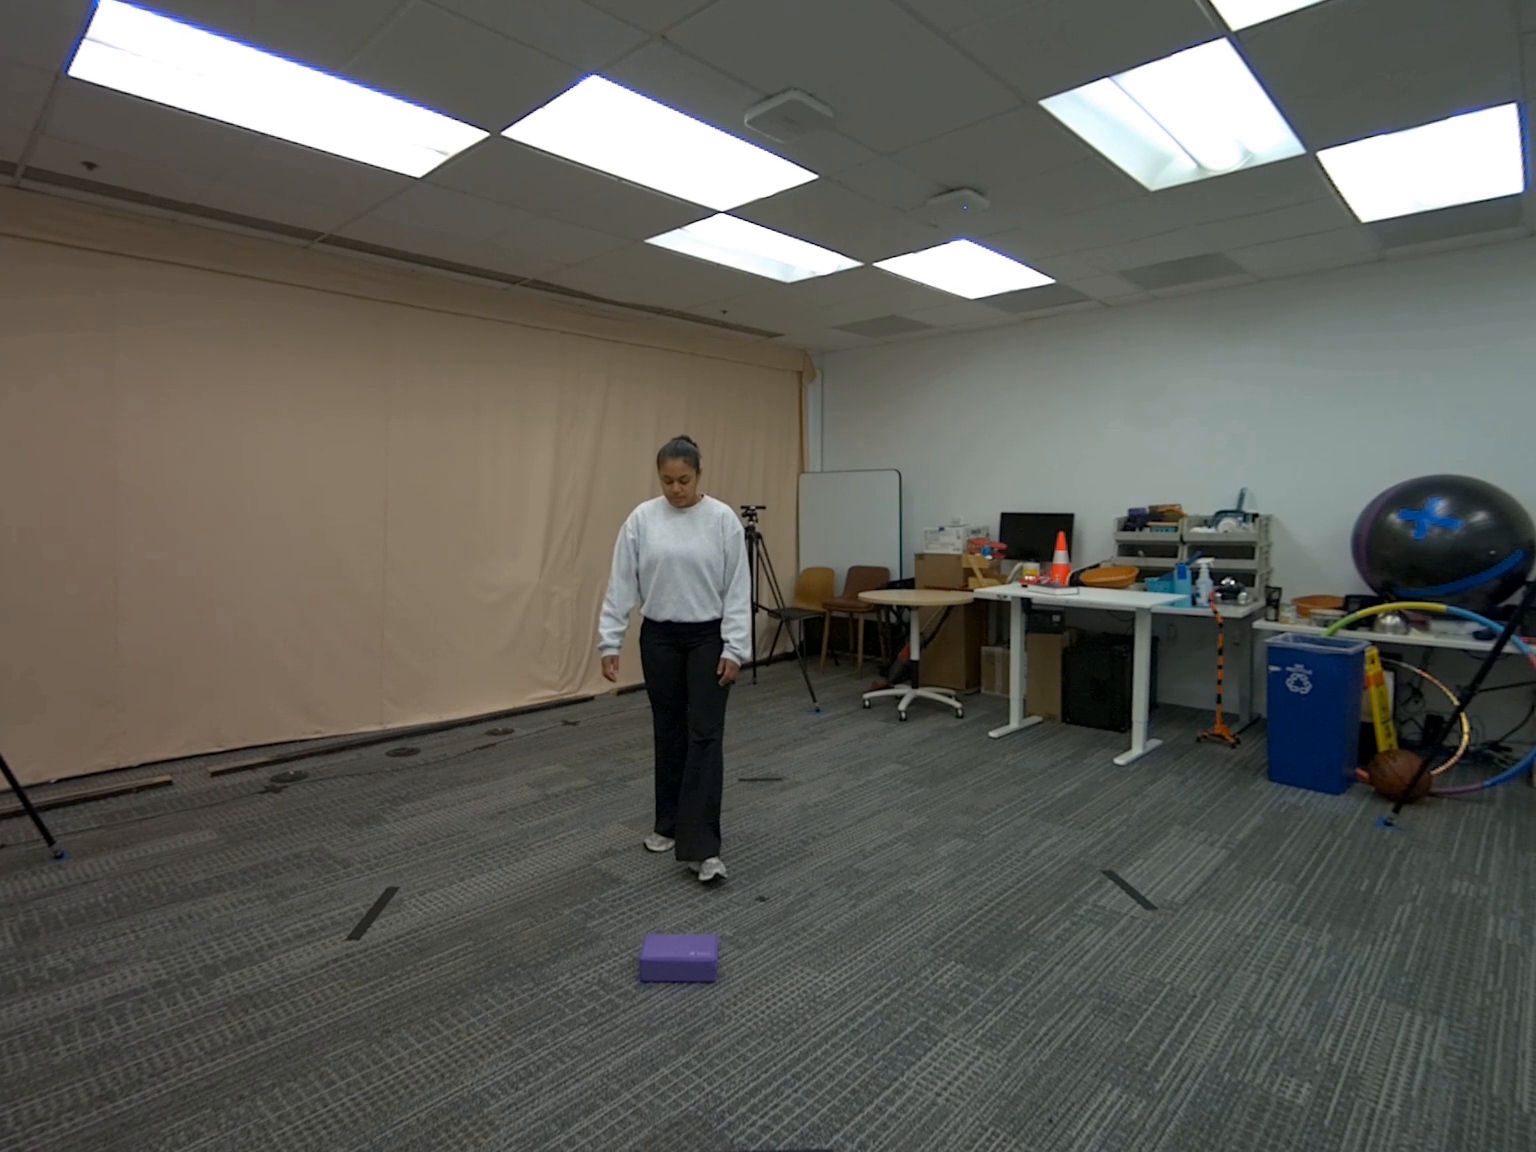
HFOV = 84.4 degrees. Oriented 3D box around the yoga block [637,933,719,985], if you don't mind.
[{"bbox_3d":[-0.263,1.139,2.527,0.230,0.076,0.149,0,3,1],"label":"yoga block"}]
